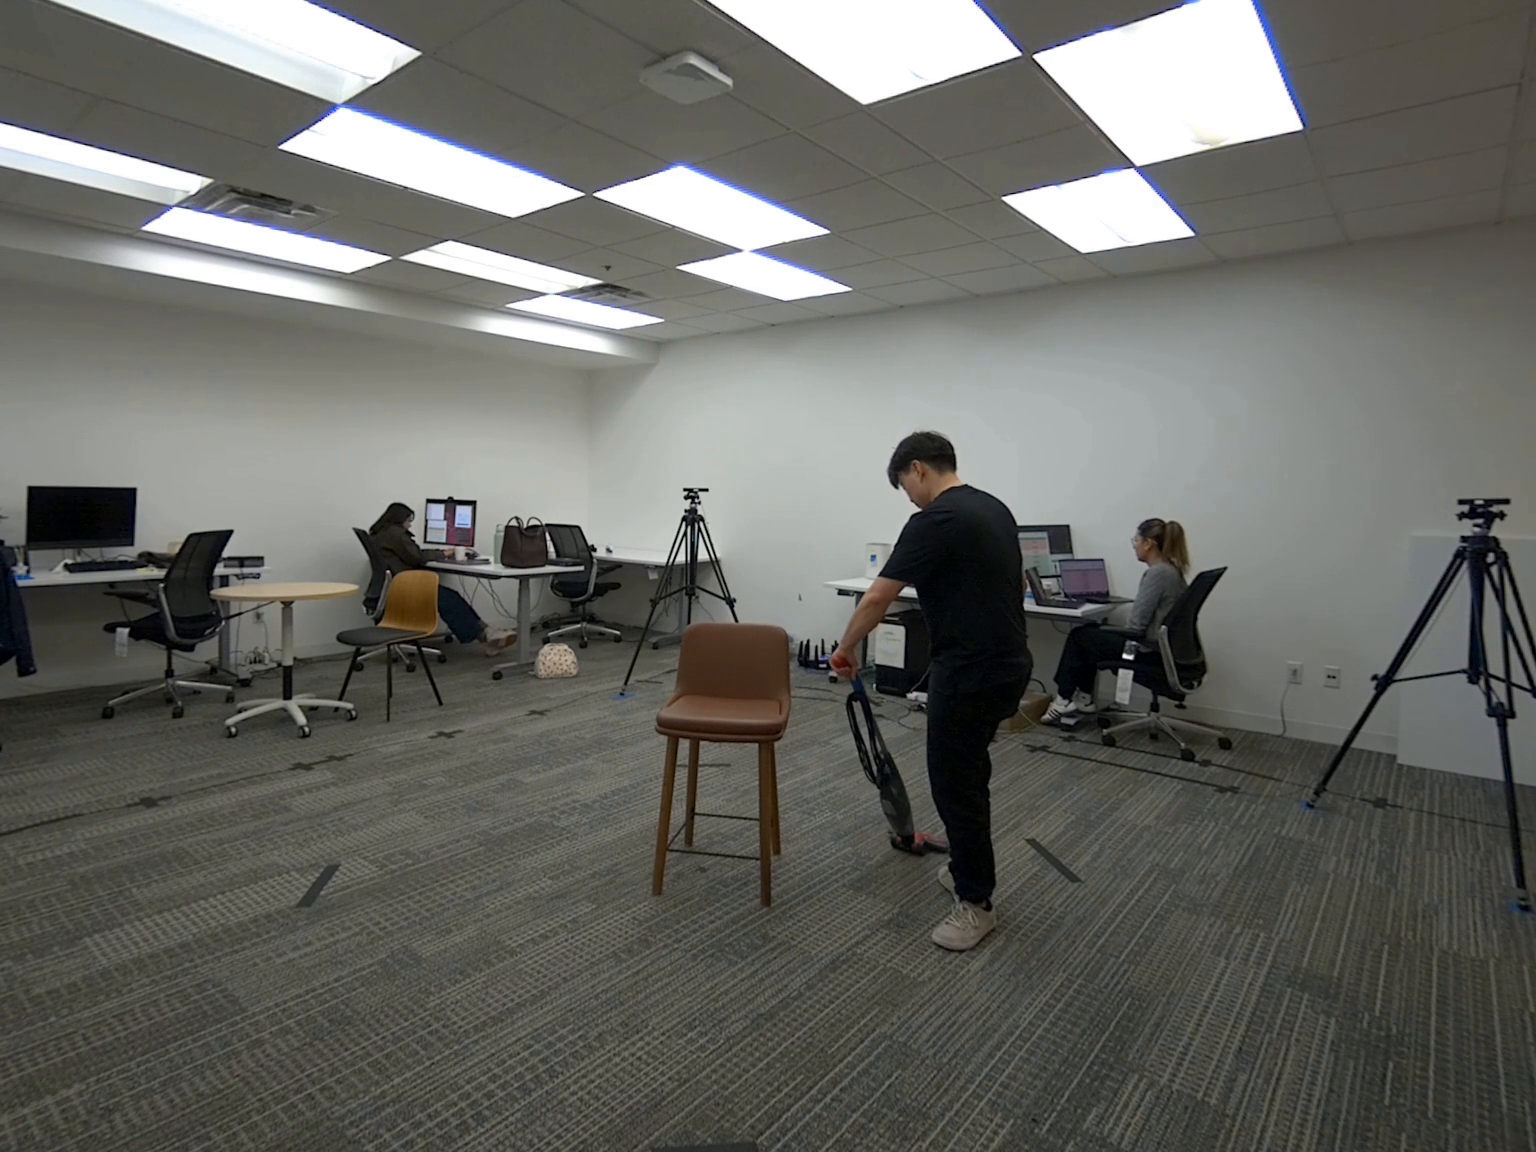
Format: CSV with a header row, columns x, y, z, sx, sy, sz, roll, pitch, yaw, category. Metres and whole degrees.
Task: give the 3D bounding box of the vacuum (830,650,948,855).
x,y,z,sx,sy,sz,roll,pitch,yaw,category
0.390,0.670,3.073,0.261,1.011,0.144,4,44,37,vacuum
